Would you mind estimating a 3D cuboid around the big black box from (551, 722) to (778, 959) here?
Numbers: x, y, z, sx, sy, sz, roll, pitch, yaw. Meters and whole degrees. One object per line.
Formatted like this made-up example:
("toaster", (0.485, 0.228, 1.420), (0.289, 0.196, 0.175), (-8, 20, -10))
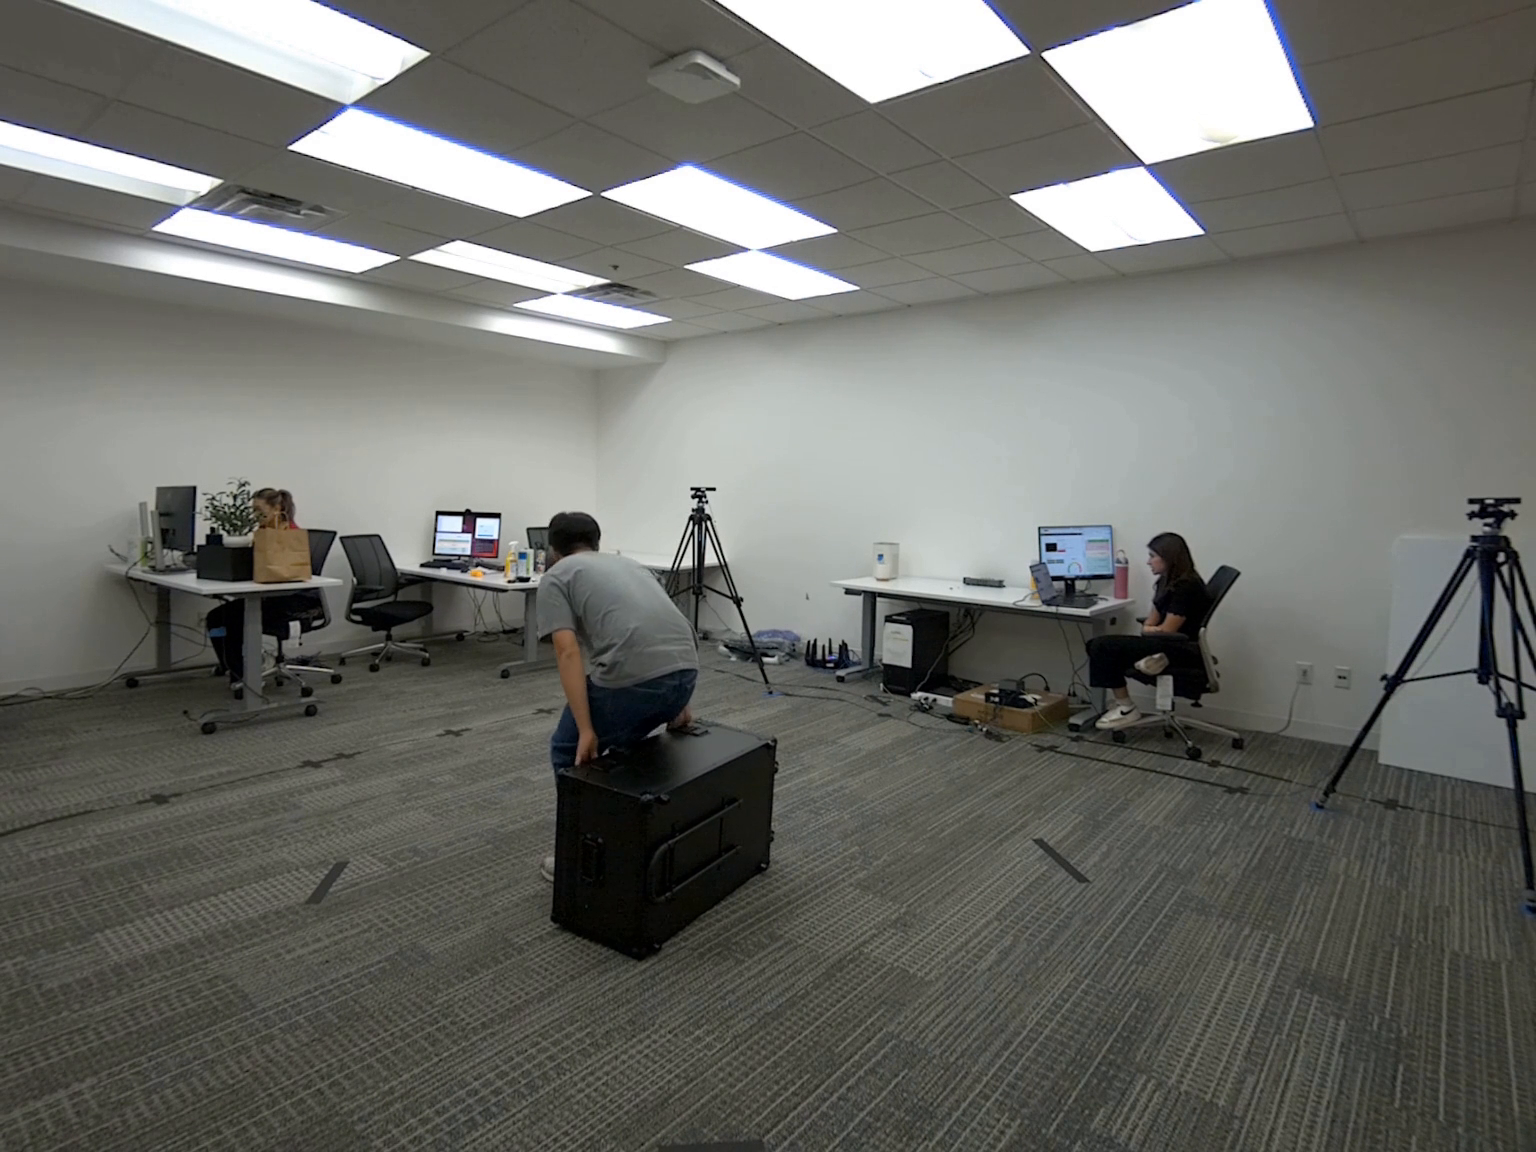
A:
("big black box", (-0.305, 0.826, 2.904), (0.408, 0.519, 0.839), (6, 6, 29))
